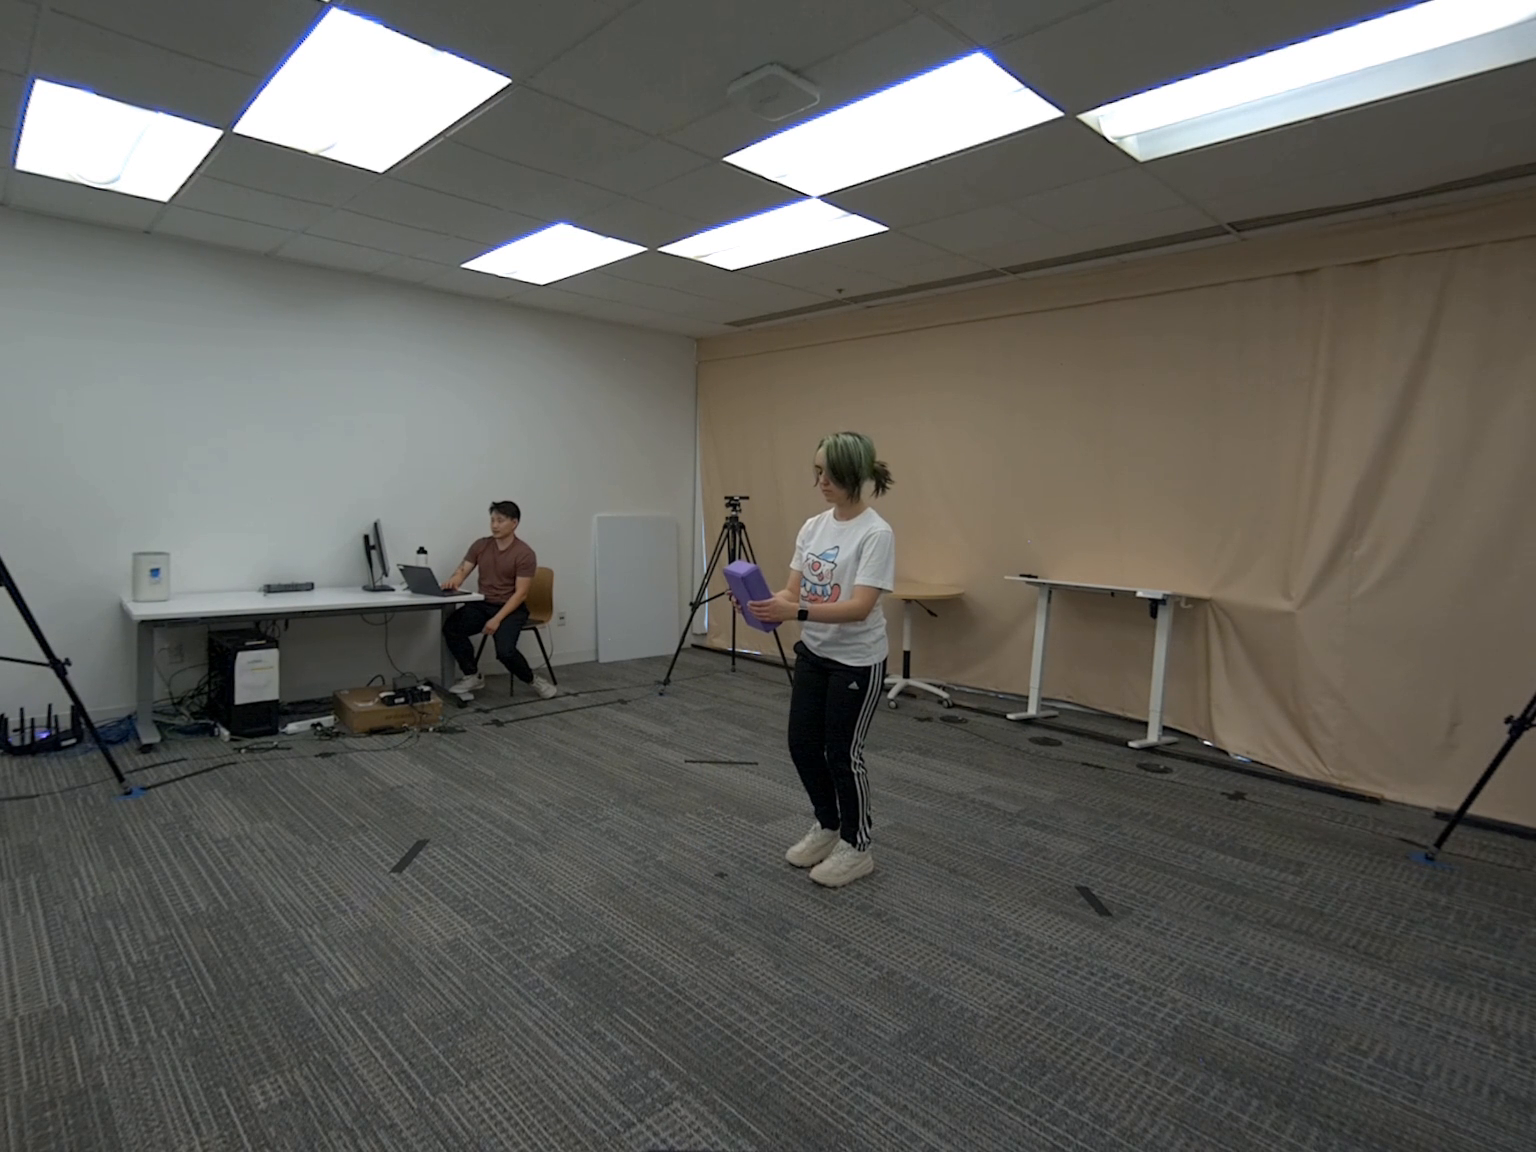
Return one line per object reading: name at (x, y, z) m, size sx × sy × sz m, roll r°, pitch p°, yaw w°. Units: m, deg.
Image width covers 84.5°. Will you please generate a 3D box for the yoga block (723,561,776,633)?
yoga block at (-0.060, 0.067, 2.823) m, size 0.076 × 0.225 × 0.152 m, roll -31°, pitch 19°, yaw -22°
